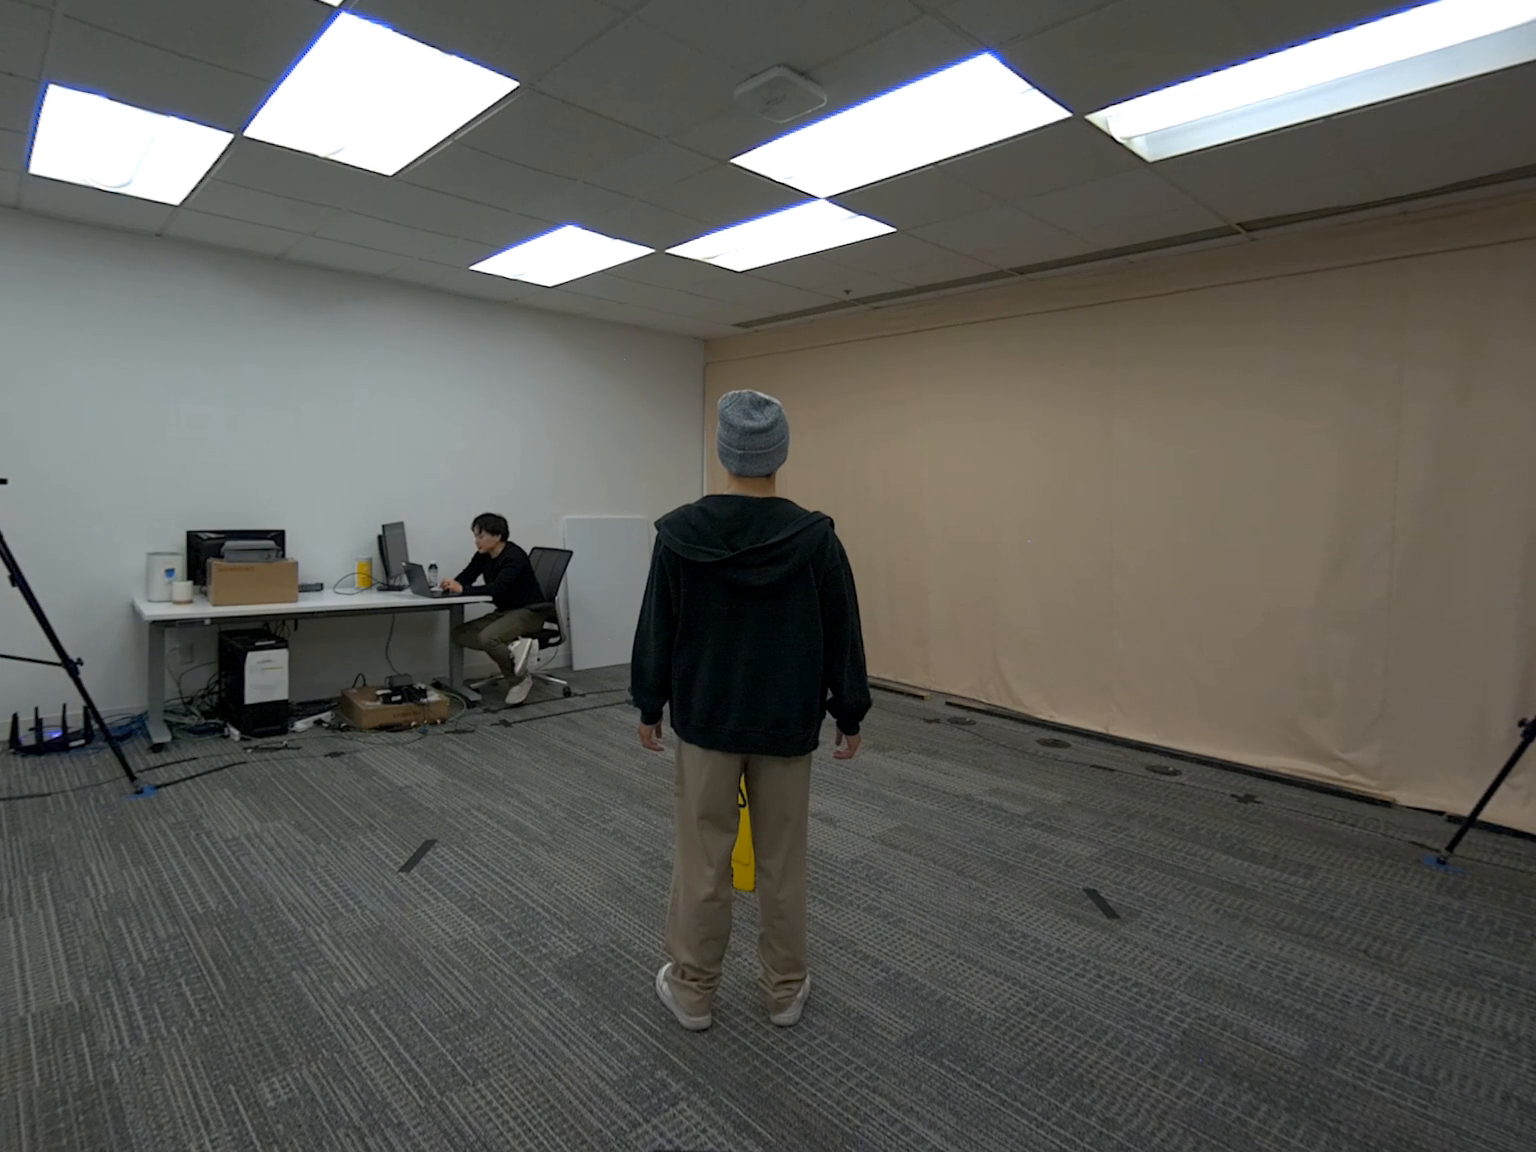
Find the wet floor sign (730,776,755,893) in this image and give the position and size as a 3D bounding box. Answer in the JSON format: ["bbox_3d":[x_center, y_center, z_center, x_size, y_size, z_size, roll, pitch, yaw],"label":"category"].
[{"bbox_3d":[-0.142,0.783,3.135,0.287,0.644,0.286,4,3,20],"label":"wet floor sign"}]
